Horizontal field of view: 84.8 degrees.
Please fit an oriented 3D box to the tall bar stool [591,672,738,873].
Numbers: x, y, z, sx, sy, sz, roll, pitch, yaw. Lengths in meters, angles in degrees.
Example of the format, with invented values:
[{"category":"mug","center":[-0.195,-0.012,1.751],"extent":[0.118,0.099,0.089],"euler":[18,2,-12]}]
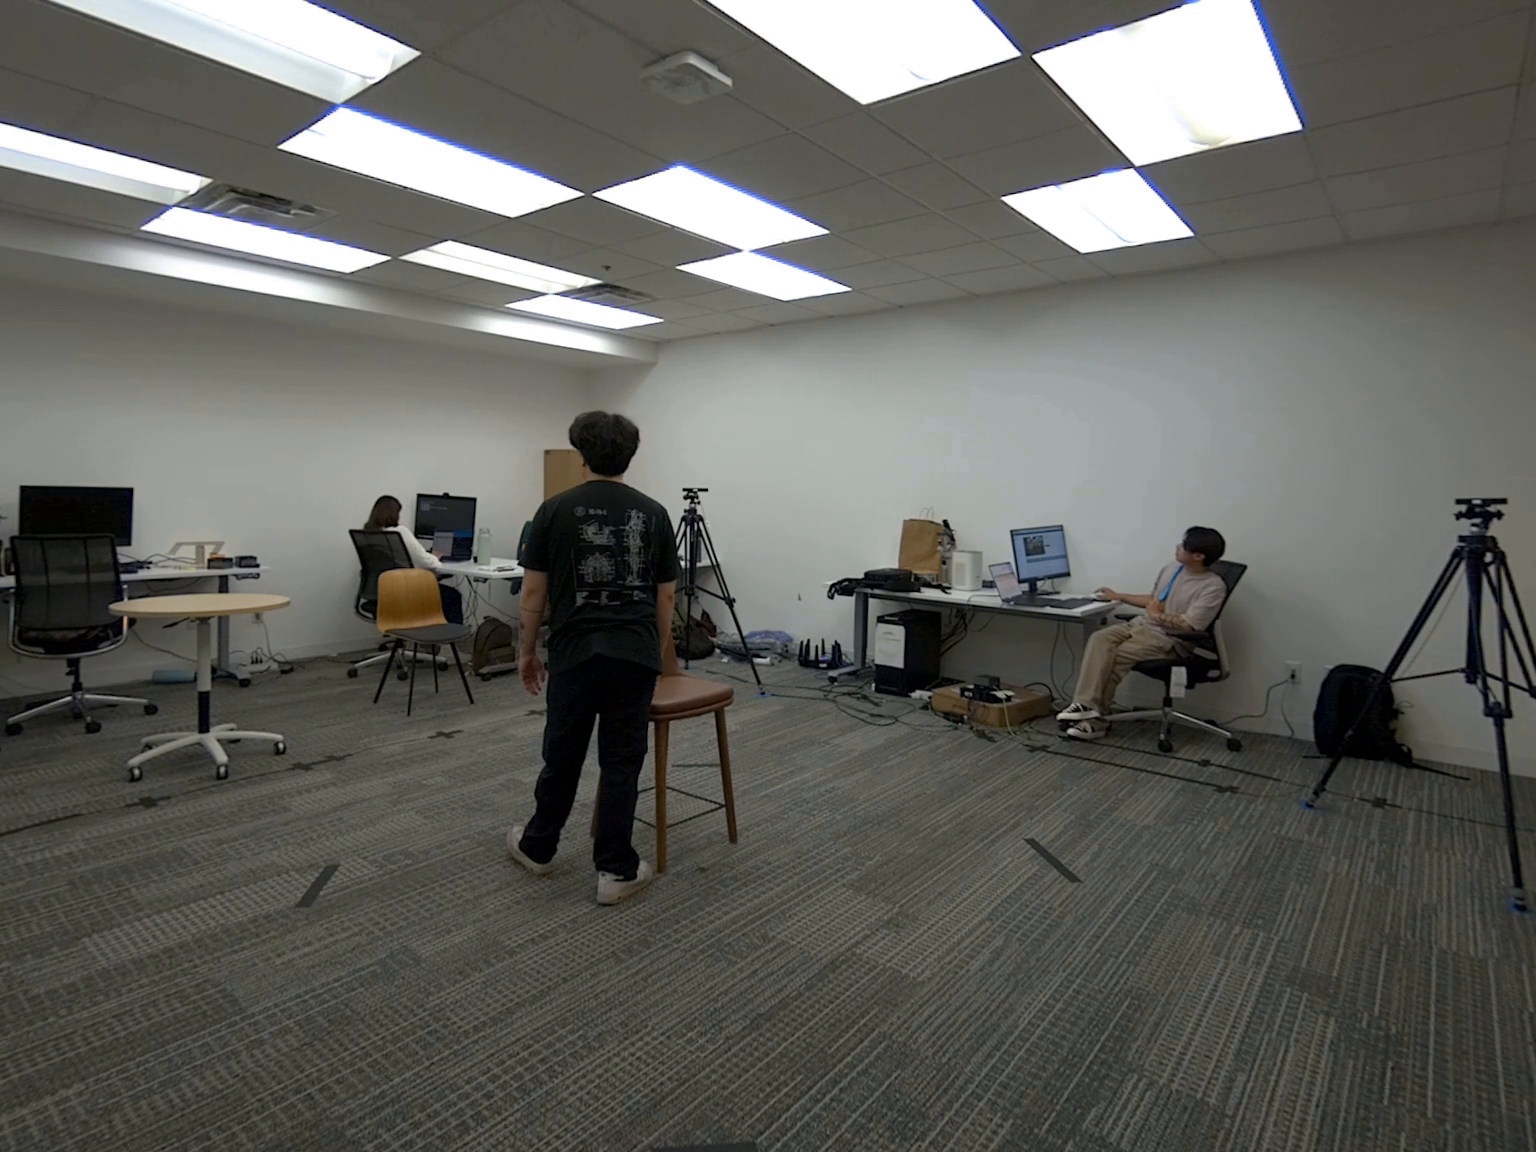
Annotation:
[{"category":"tall bar stool","center":[-0.424,0.606,3.354],"extent":[0.483,0.889,0.442],"euler":[0,1,43]}]
